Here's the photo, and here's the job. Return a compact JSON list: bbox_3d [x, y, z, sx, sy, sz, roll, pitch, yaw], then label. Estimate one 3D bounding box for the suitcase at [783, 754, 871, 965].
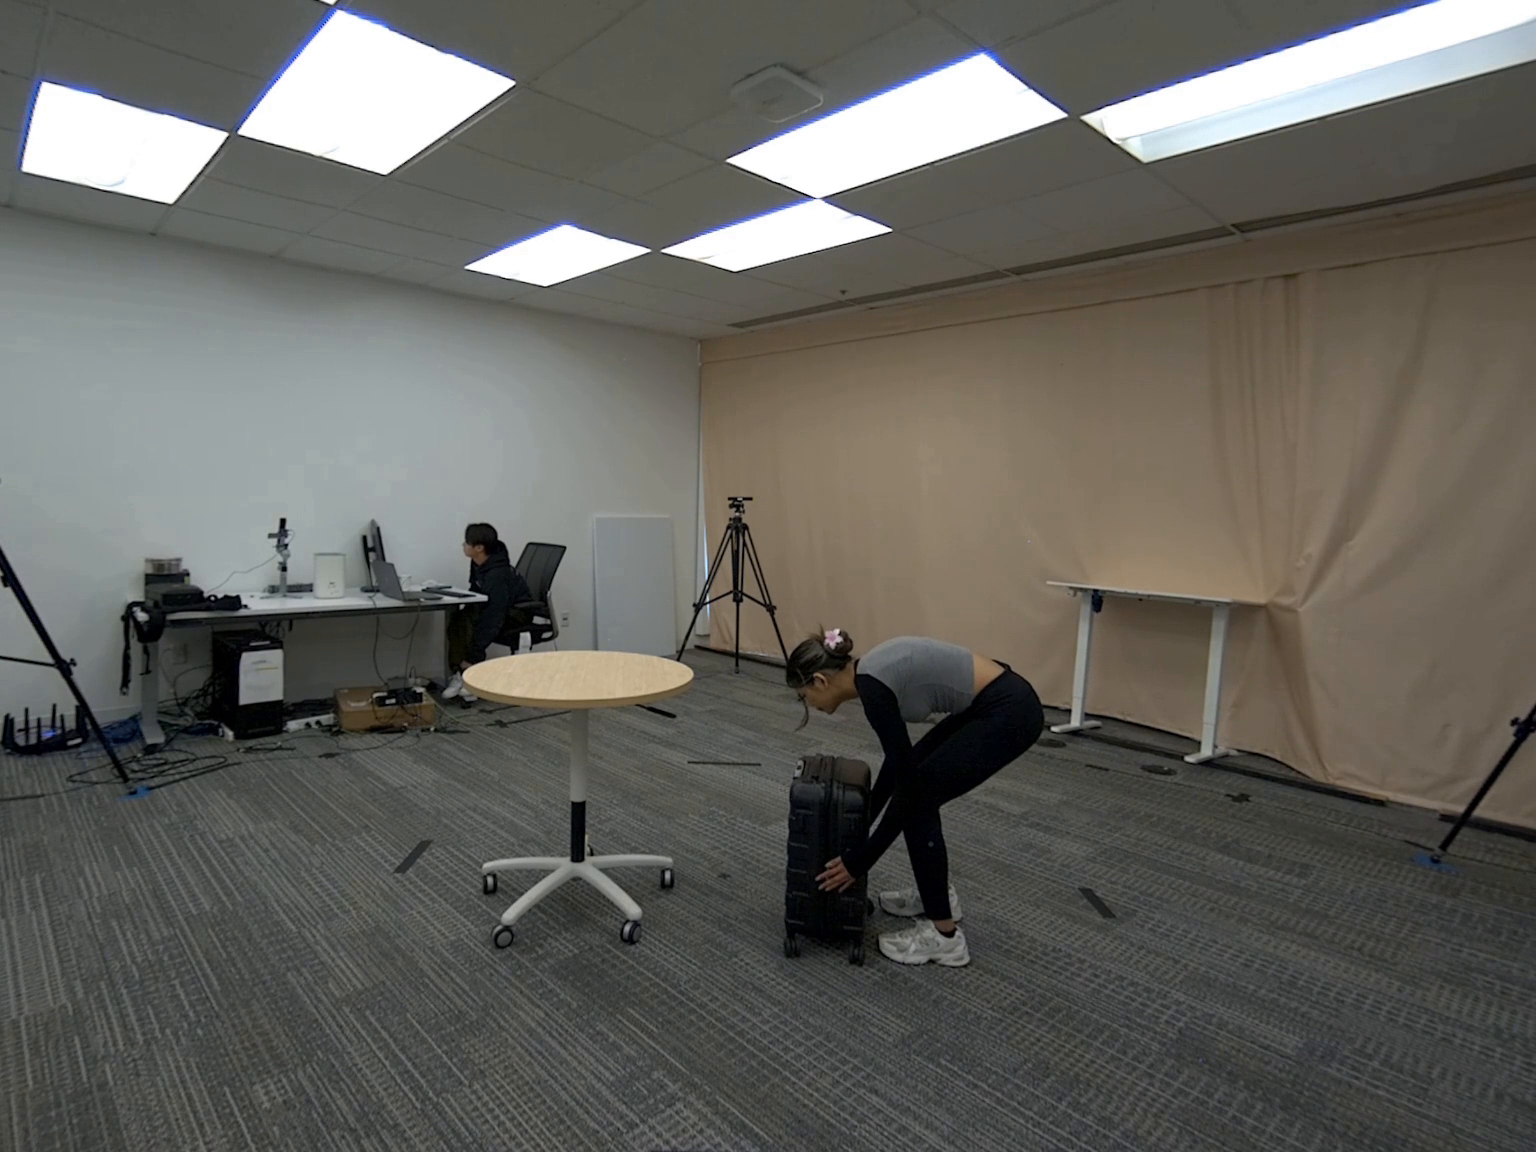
[{"bbox_3d":[0.203,0.879,2.698,0.250,0.548,0.374,1,4,6],"label":"suitcase"}]
